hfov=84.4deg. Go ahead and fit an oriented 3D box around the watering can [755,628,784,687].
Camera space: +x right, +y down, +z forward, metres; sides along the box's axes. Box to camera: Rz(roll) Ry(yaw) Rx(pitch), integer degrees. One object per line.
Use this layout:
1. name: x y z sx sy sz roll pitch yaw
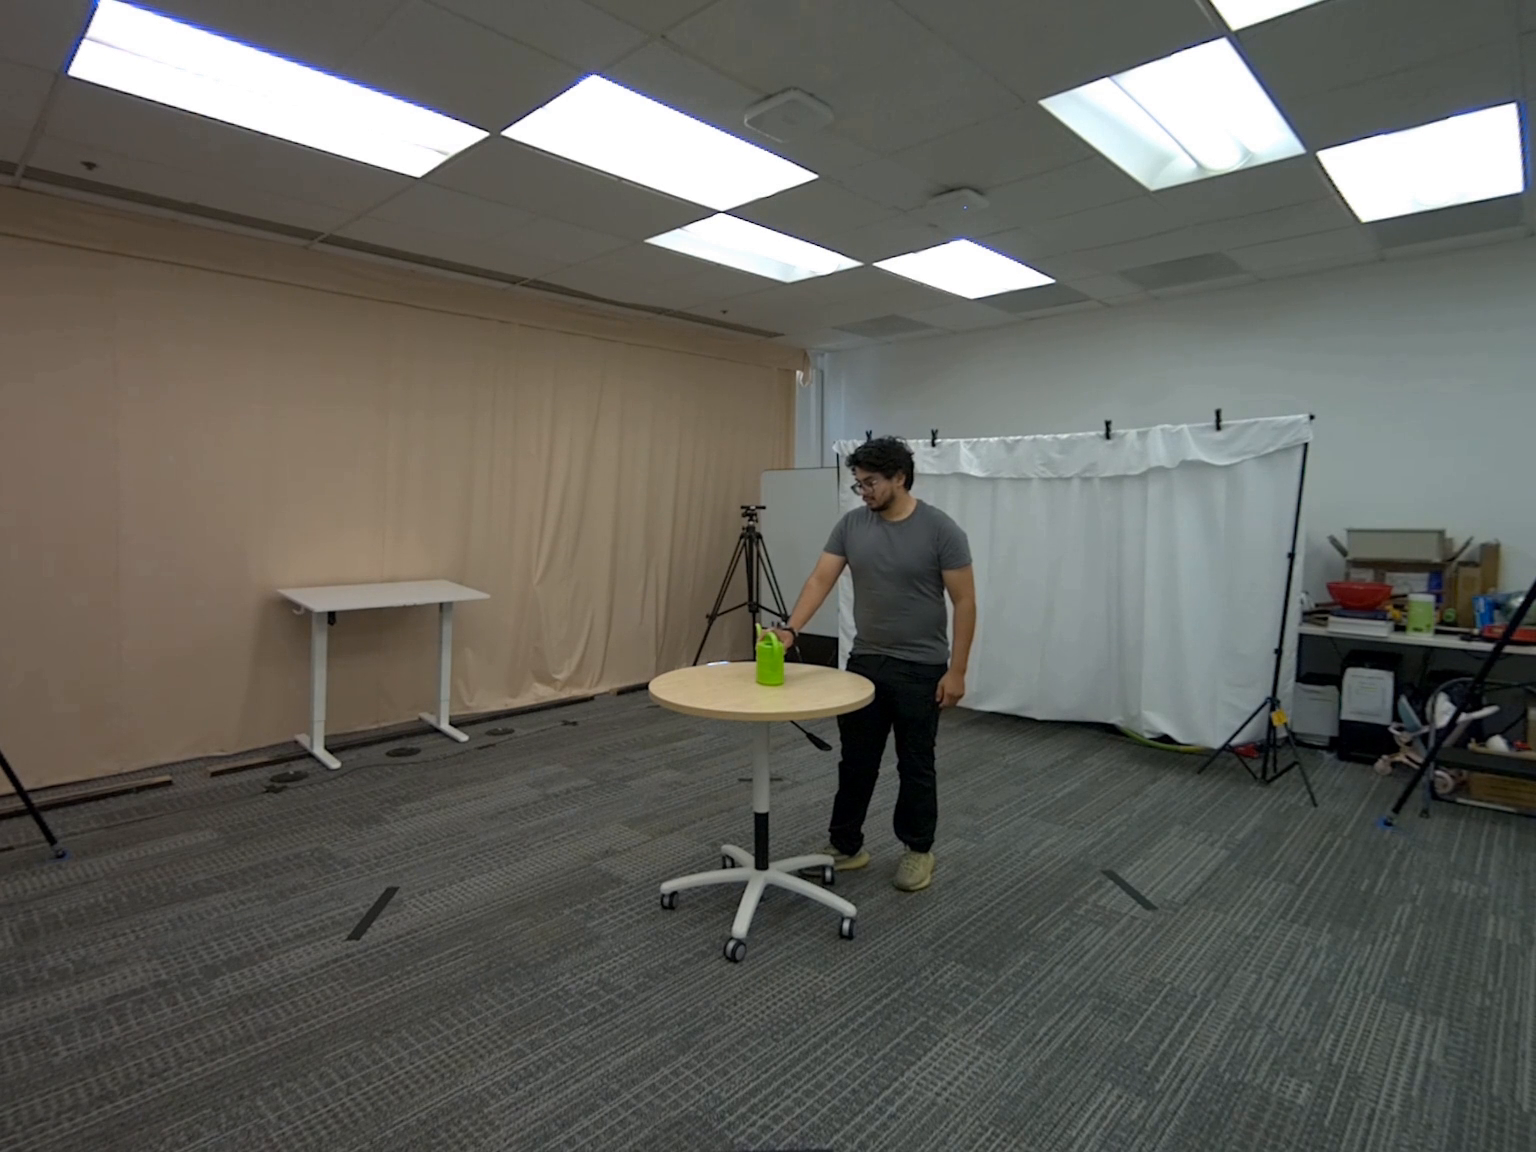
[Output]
1. watering can: 0.011 0.279 2.948 0.098 0.176 0.280 0 8 -2
